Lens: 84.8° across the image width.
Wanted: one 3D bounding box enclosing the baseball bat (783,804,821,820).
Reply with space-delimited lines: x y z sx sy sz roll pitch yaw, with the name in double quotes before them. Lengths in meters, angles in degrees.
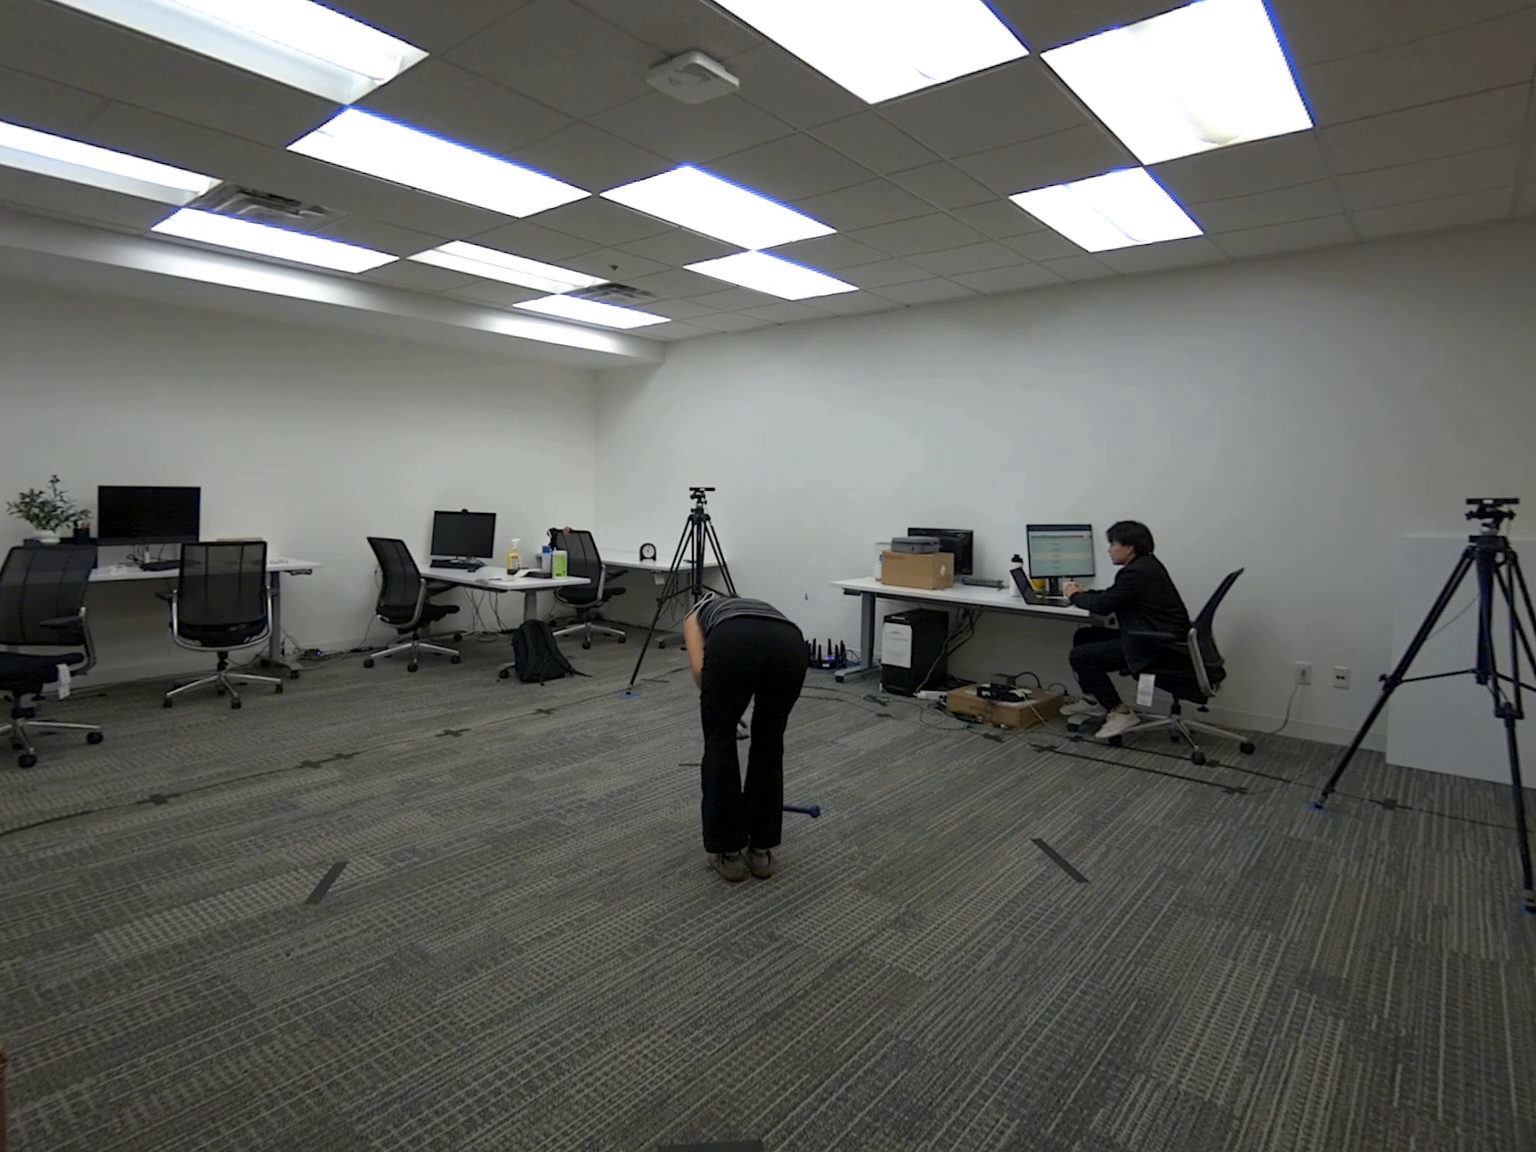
"baseball bat" -0.027 0.901 3.381 0.086 0.089 0.557 -3 -3 -44
